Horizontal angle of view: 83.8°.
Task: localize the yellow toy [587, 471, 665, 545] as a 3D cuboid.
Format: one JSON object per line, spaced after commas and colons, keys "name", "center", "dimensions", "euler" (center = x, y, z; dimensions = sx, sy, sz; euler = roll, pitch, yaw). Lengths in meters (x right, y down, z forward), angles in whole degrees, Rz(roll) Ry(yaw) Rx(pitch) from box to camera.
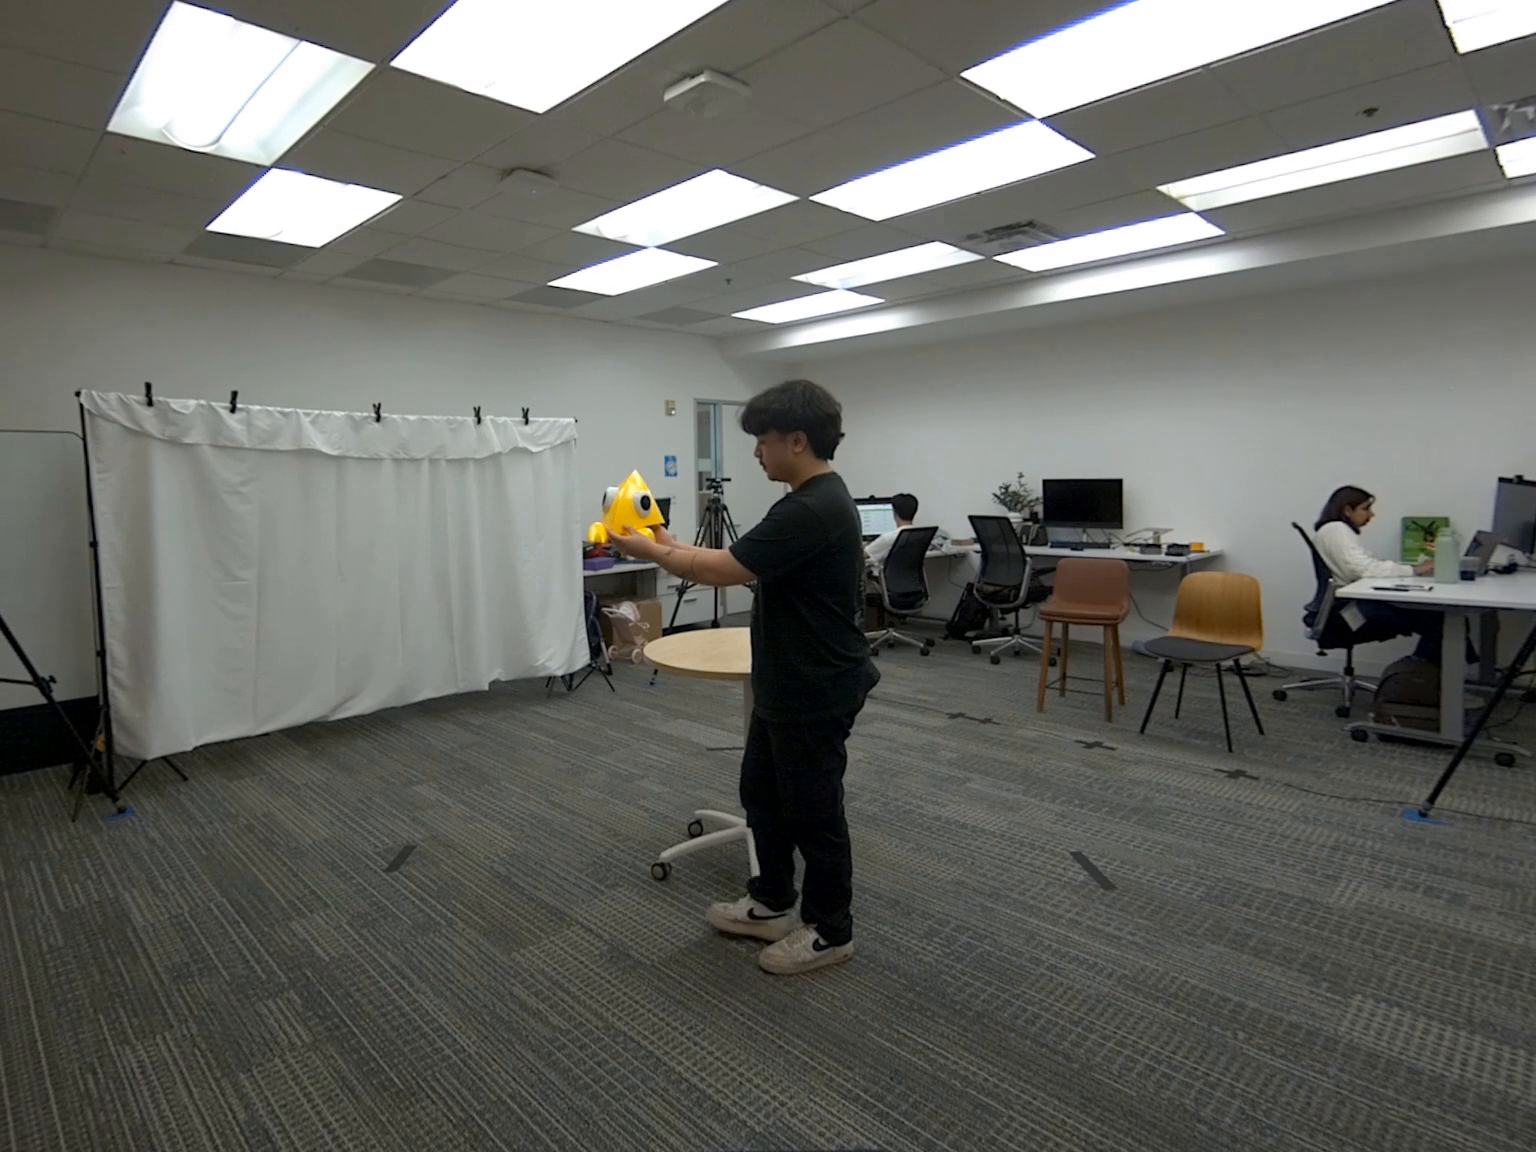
{"name": "yellow toy", "center": [-0.425, -0.211, 2.561], "dimensions": [0.207, 0.231, 0.191], "euler": [6, 0, 9]}
